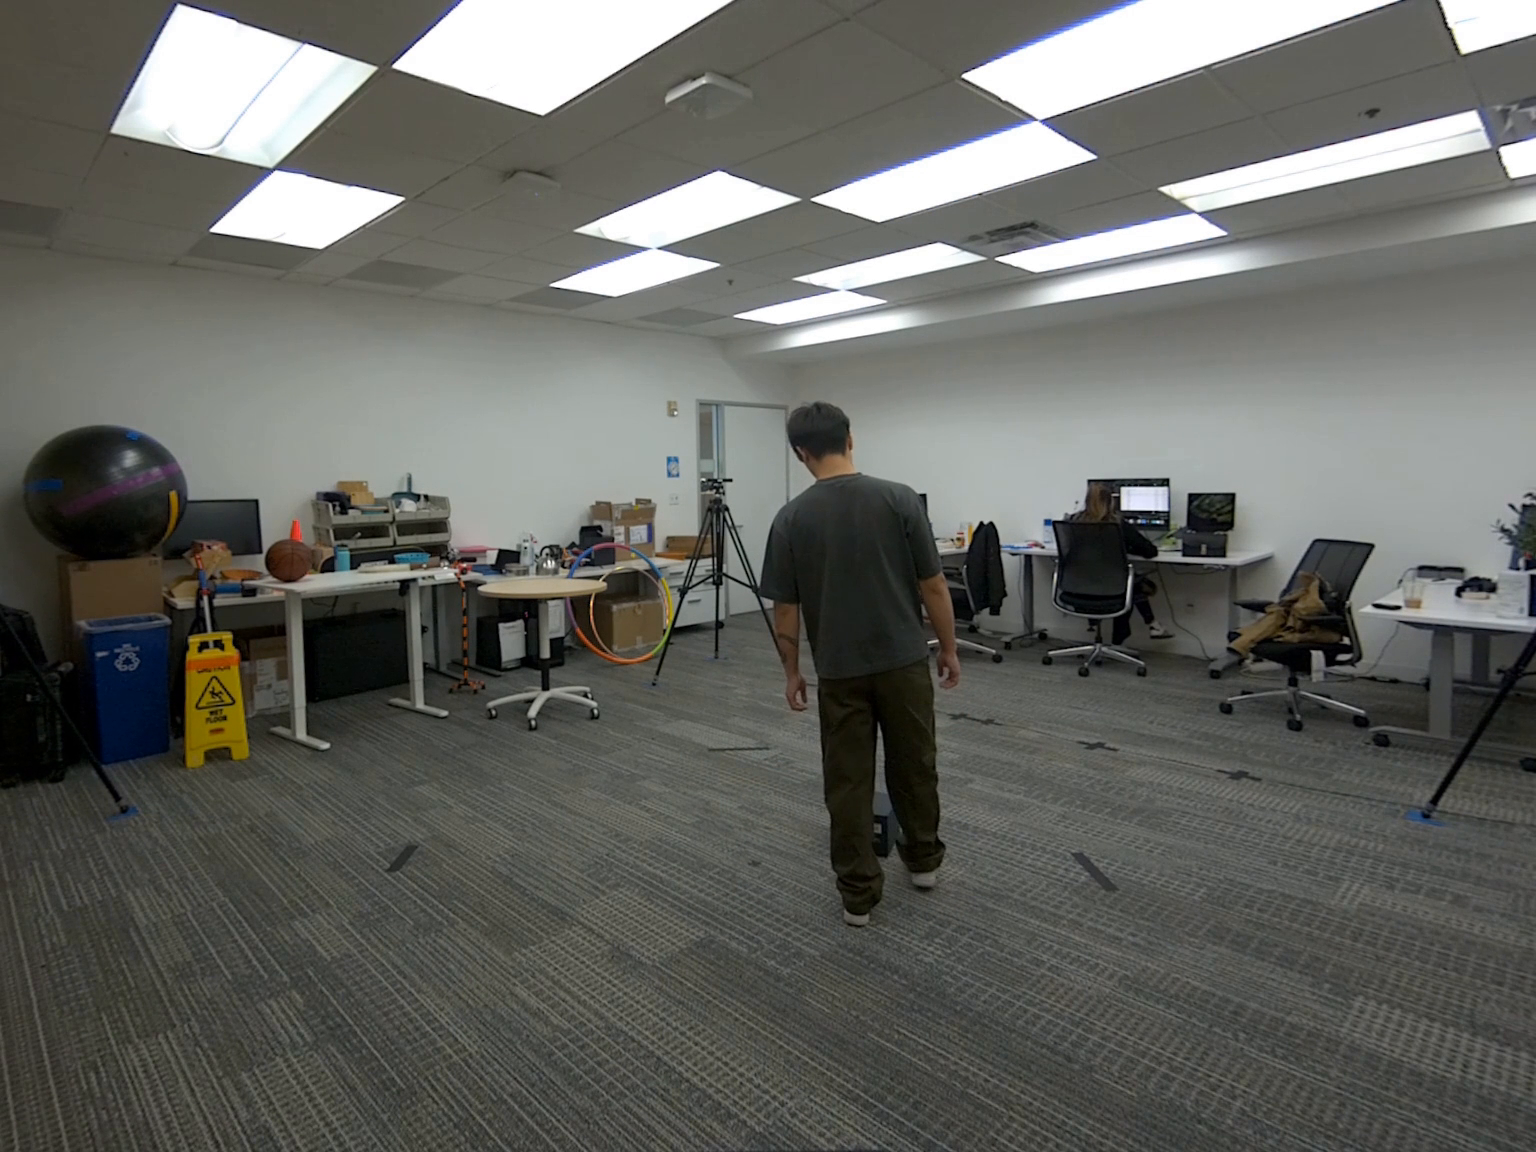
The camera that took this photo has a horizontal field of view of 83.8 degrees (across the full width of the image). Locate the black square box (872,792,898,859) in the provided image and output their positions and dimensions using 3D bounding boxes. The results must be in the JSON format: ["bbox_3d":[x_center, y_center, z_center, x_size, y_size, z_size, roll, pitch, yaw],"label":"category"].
[{"bbox_3d":[0.378,0.937,3.270,0.221,0.155,0.224,1,4,21],"label":"black square box"}]
